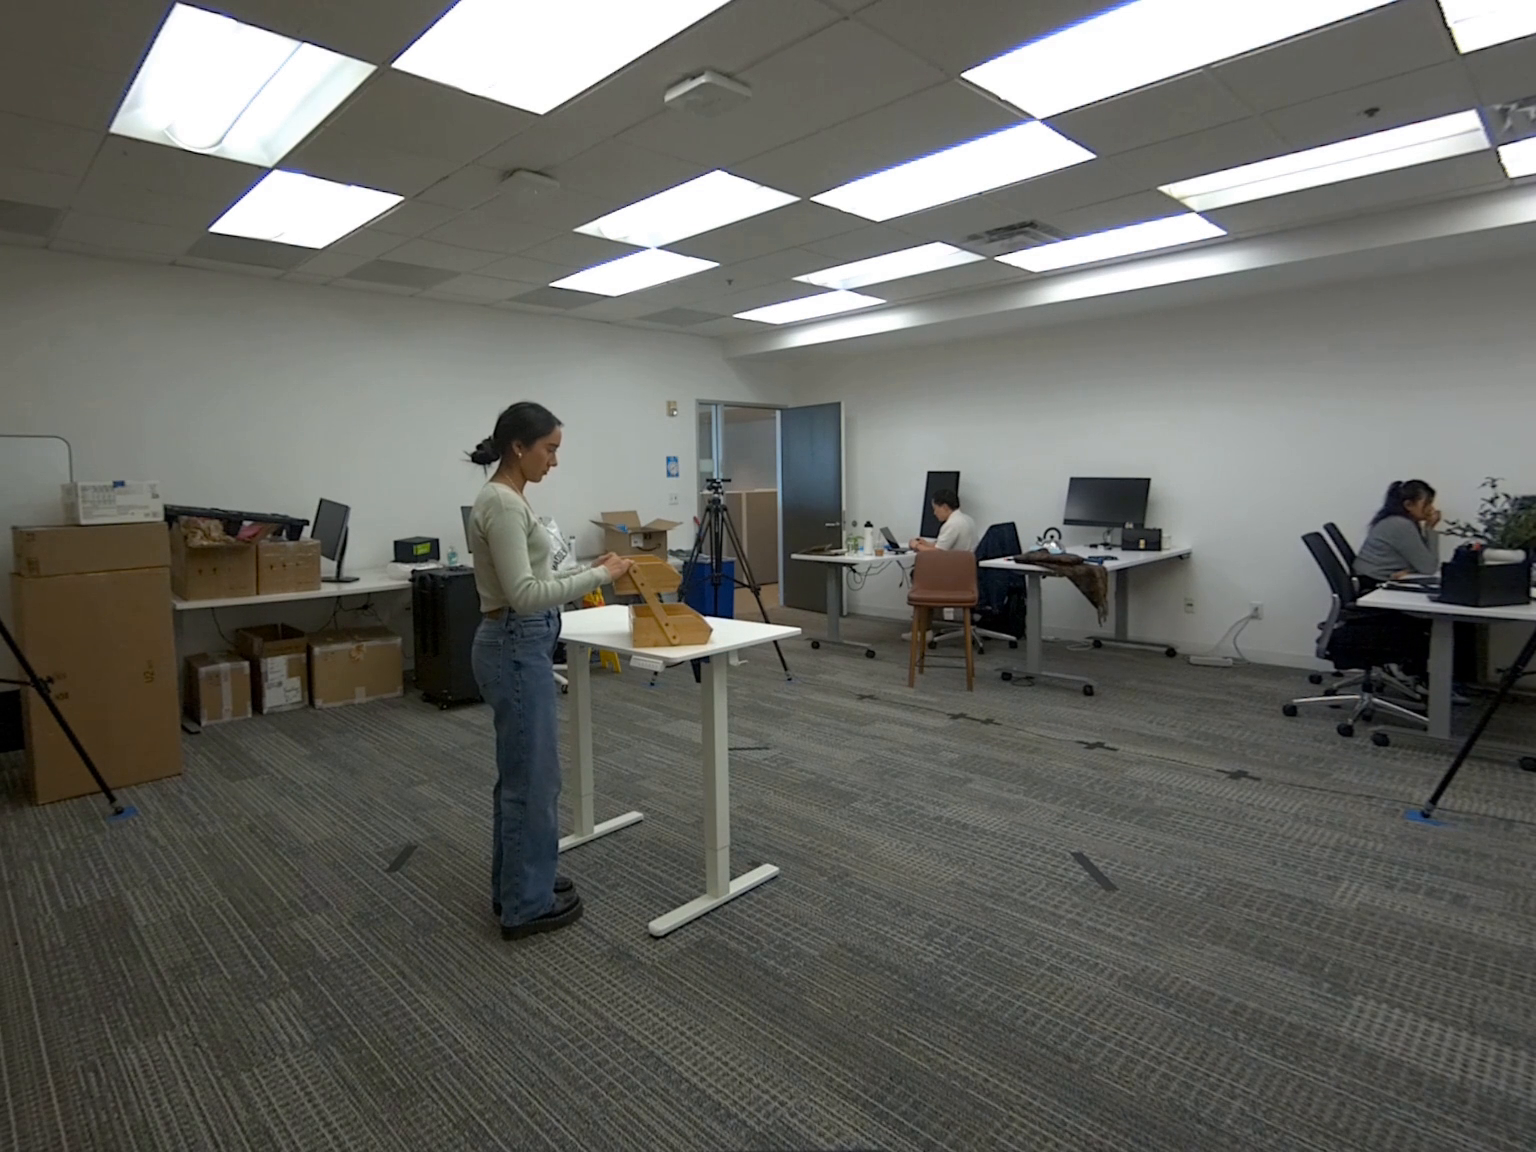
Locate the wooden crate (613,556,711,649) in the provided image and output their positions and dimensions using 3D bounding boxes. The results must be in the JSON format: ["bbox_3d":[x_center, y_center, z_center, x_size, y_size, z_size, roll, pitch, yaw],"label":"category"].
[{"bbox_3d":[-0.357,0.068,2.779,0.299,0.272,0.329,-2,5,-10],"label":"wooden crate"}]
